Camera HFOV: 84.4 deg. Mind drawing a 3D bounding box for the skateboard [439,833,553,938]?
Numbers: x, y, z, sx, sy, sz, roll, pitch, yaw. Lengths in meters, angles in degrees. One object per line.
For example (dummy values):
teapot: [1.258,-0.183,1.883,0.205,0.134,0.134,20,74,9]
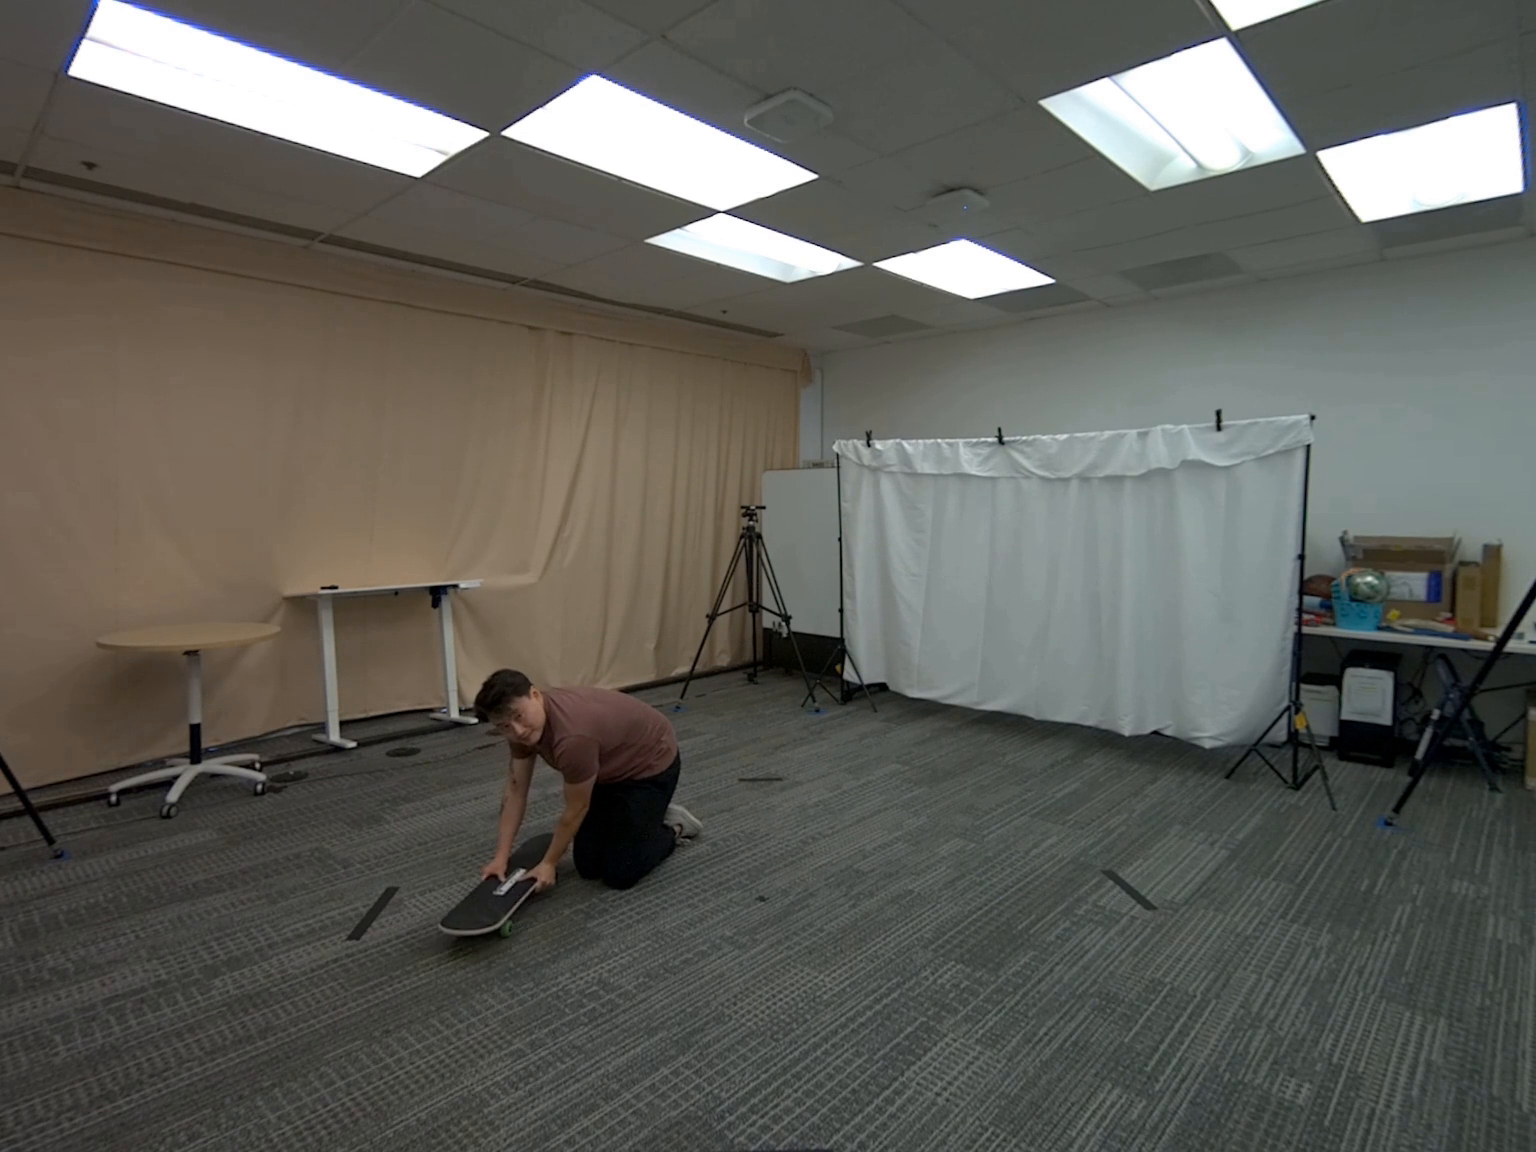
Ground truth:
skateboard: [-0.894,1.100,2.948,0.195,0.110,0.779,2,5,8]
